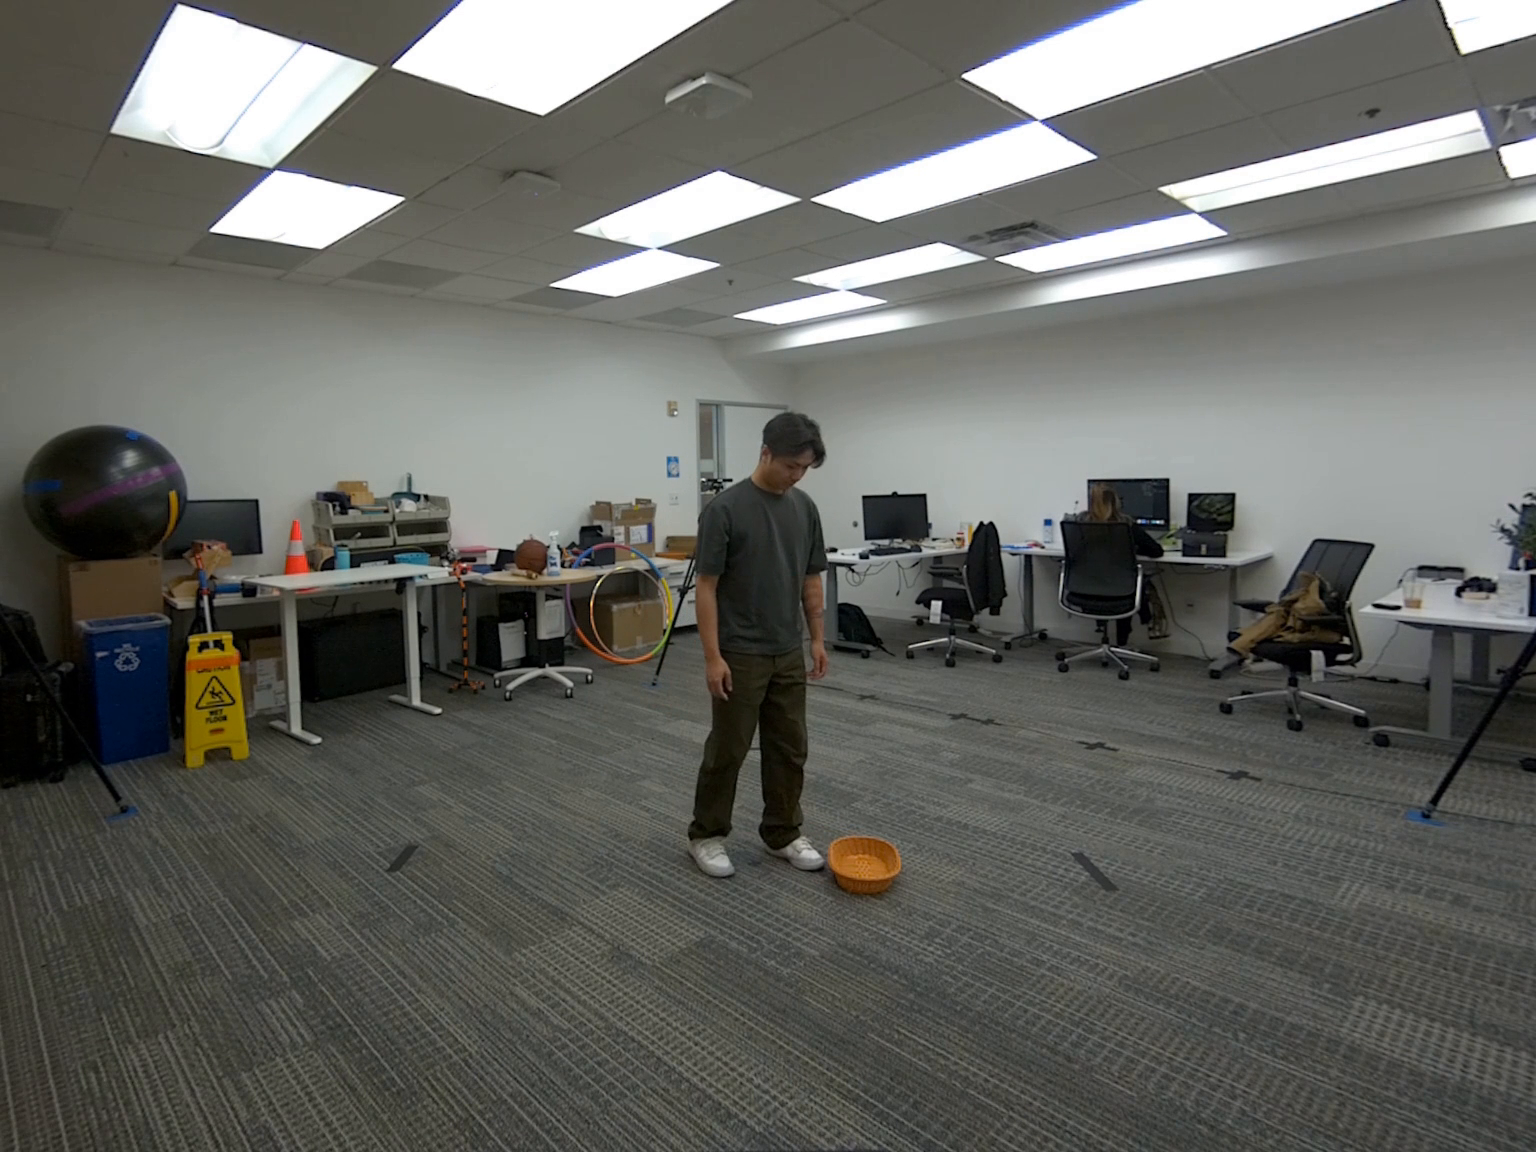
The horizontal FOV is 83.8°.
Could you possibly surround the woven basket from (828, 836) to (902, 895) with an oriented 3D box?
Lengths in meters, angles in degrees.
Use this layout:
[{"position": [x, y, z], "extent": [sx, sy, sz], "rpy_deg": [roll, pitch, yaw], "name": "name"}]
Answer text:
[{"position": [0.340, 1.010, 2.992], "extent": [0.254, 0.073, 0.349], "rpy_deg": [0, 6, 7], "name": "woven basket"}]
